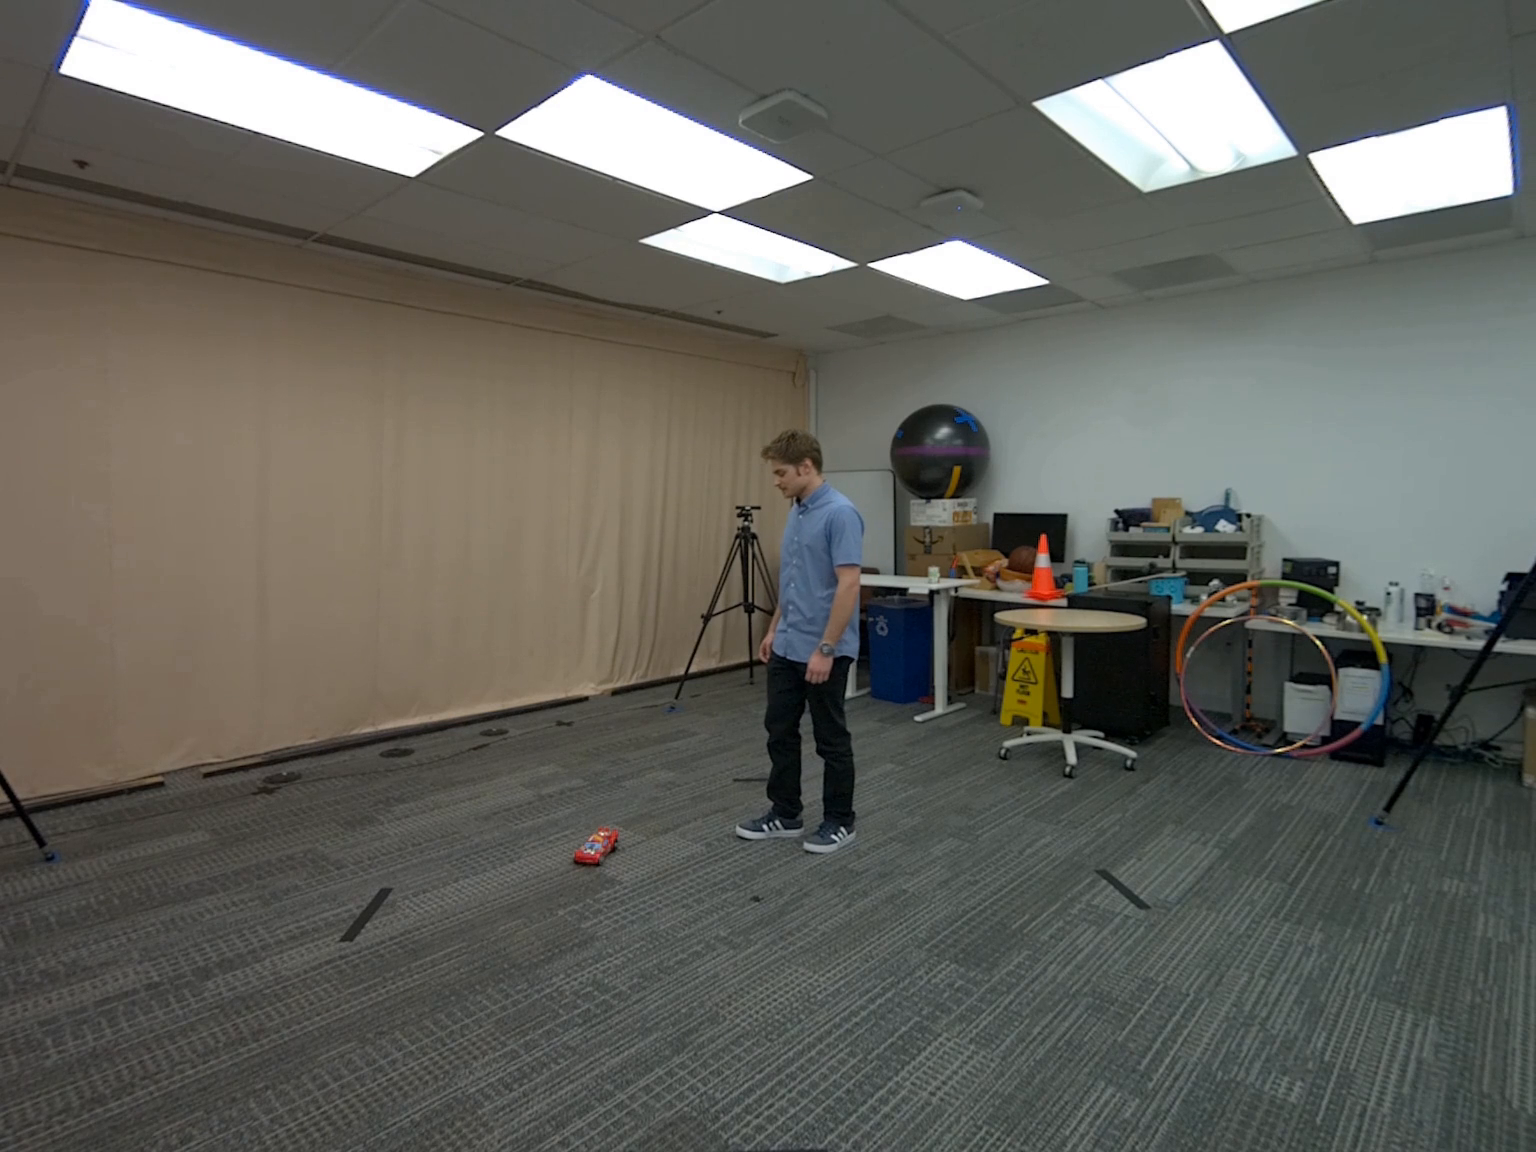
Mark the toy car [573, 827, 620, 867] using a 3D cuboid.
[{"bbox_3d":[-0.686,1.088,3.377,0.132,0.082,0.253,0,15,12],"label":"toy car"}]
